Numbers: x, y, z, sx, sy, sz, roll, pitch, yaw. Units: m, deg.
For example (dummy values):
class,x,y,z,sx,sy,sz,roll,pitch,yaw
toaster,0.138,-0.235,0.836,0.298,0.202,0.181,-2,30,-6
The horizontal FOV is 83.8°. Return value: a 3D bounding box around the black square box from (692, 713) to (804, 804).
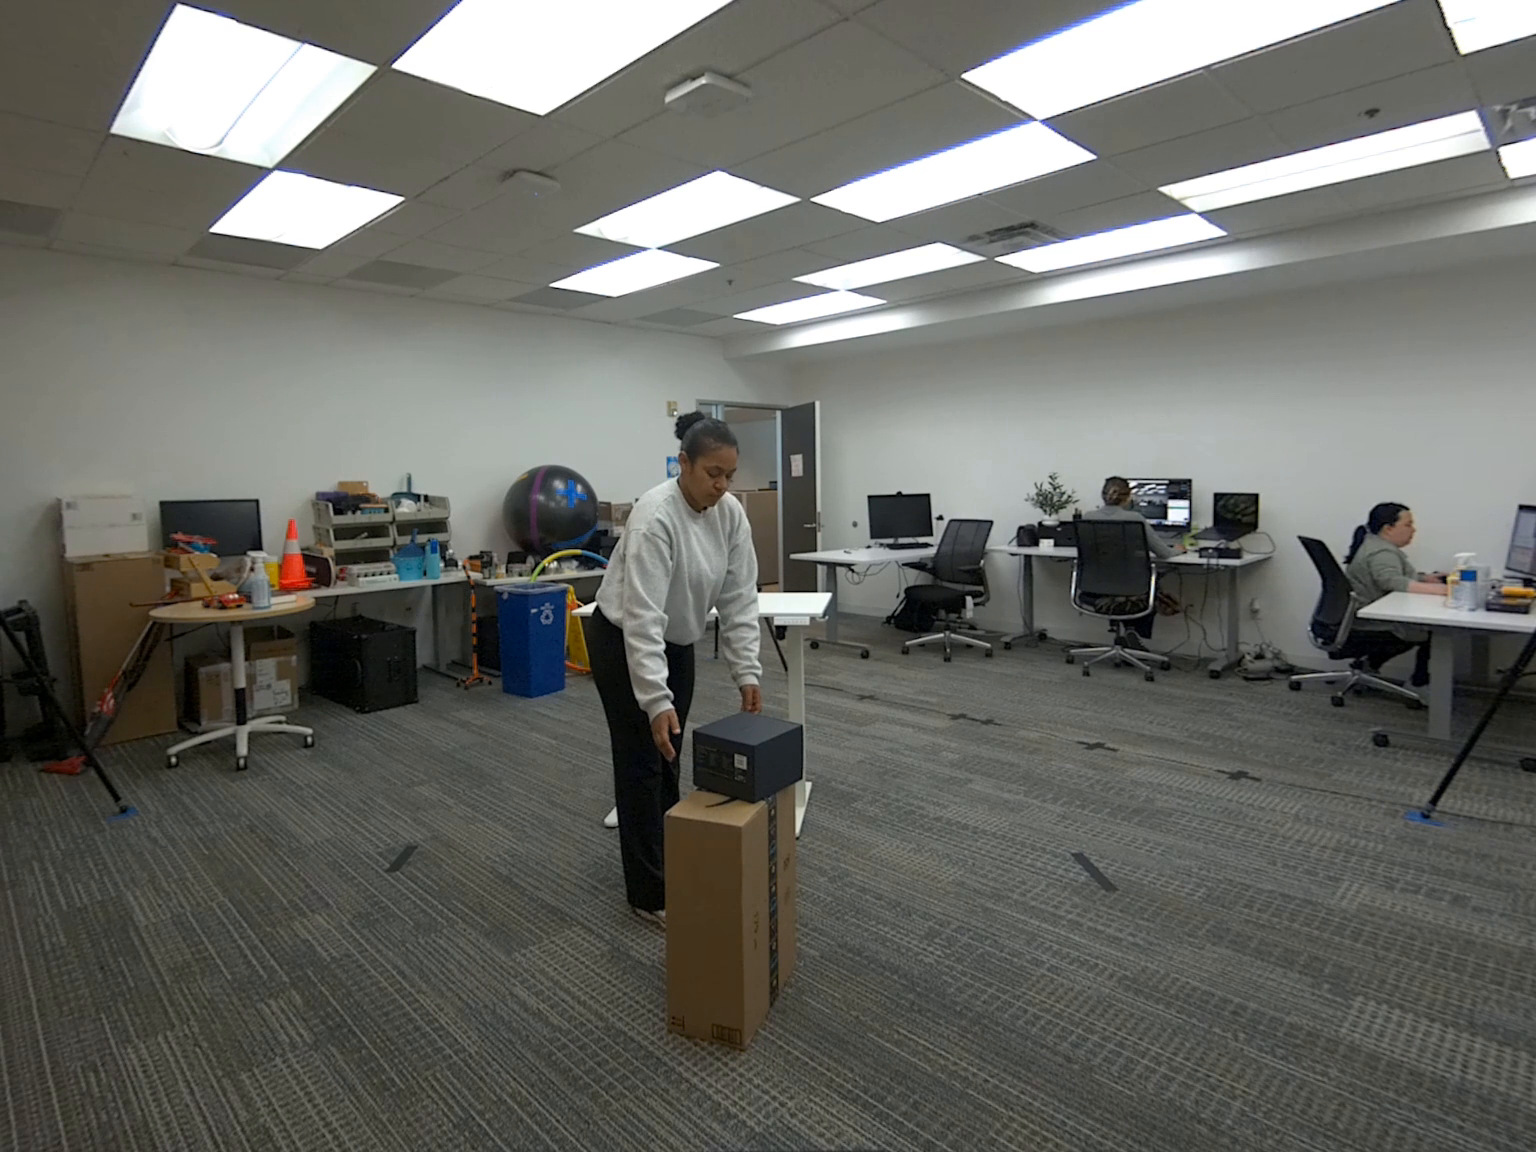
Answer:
class,x,y,z,sx,sy,sz,roll,pitch,yaw
black square box,-0.058,0.491,2.346,0.223,0.155,0.222,3,7,36
